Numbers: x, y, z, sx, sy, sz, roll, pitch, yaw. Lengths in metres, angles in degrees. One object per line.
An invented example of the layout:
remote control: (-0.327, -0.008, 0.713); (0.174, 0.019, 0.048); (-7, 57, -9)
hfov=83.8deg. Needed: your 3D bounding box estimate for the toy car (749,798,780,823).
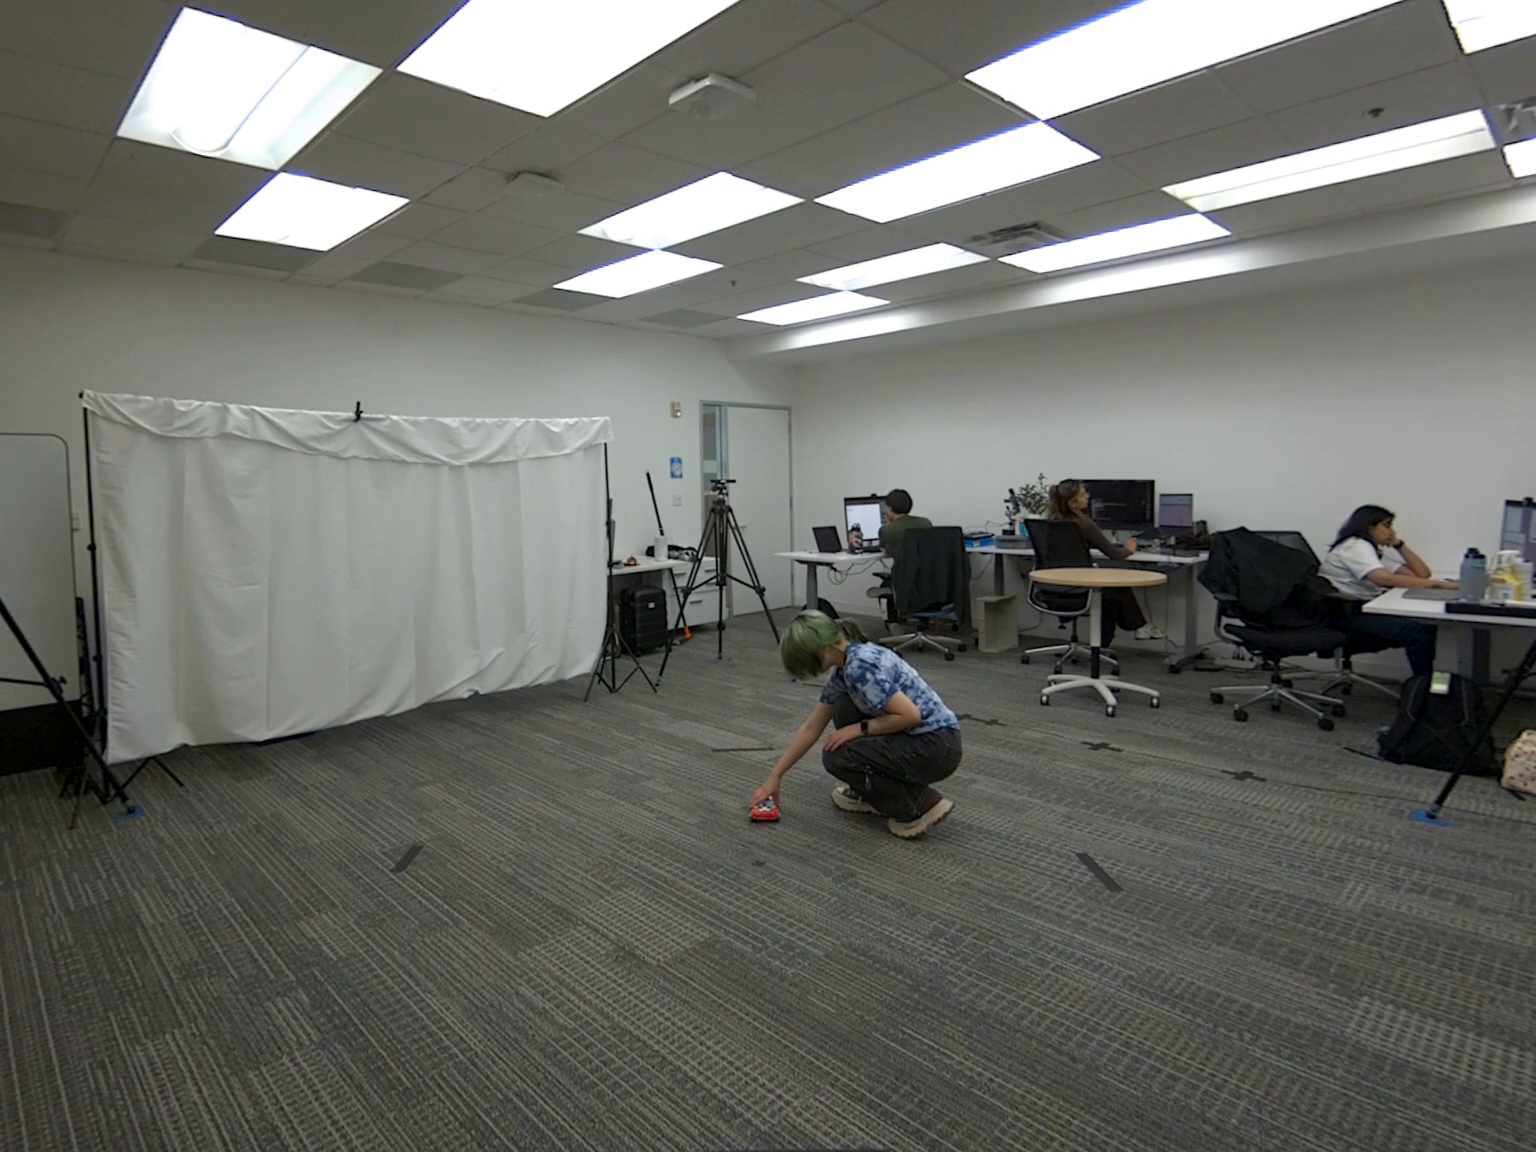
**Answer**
toy car: (-0.010, 0.964, 3.600); (0.130, 0.082, 0.259); (-4, 18, -2)
